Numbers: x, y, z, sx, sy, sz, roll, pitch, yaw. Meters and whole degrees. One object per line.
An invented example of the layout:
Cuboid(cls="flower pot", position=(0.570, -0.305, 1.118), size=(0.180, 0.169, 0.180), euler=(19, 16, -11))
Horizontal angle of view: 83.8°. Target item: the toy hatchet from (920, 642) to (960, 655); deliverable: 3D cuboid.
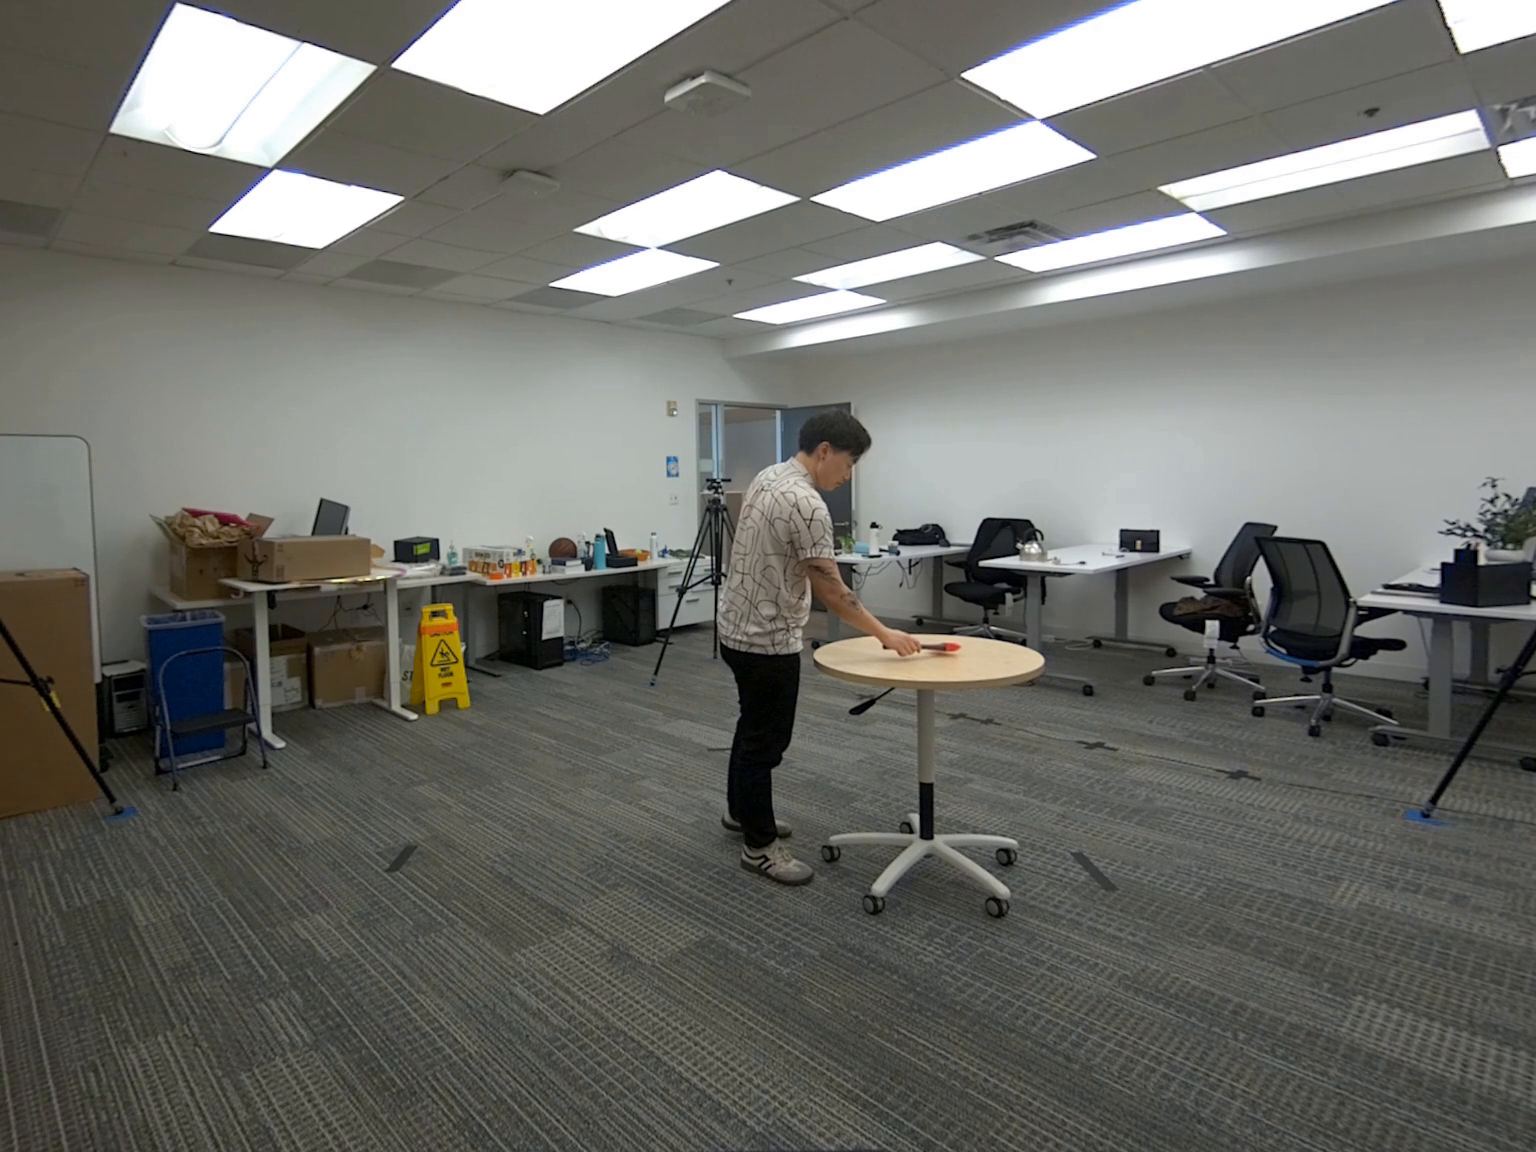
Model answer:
Cuboid(cls="toy hatchet", position=(0.512, 0.244, 2.912), size=(0.269, 0.030, 0.131), euler=(-2, -3, -4))
